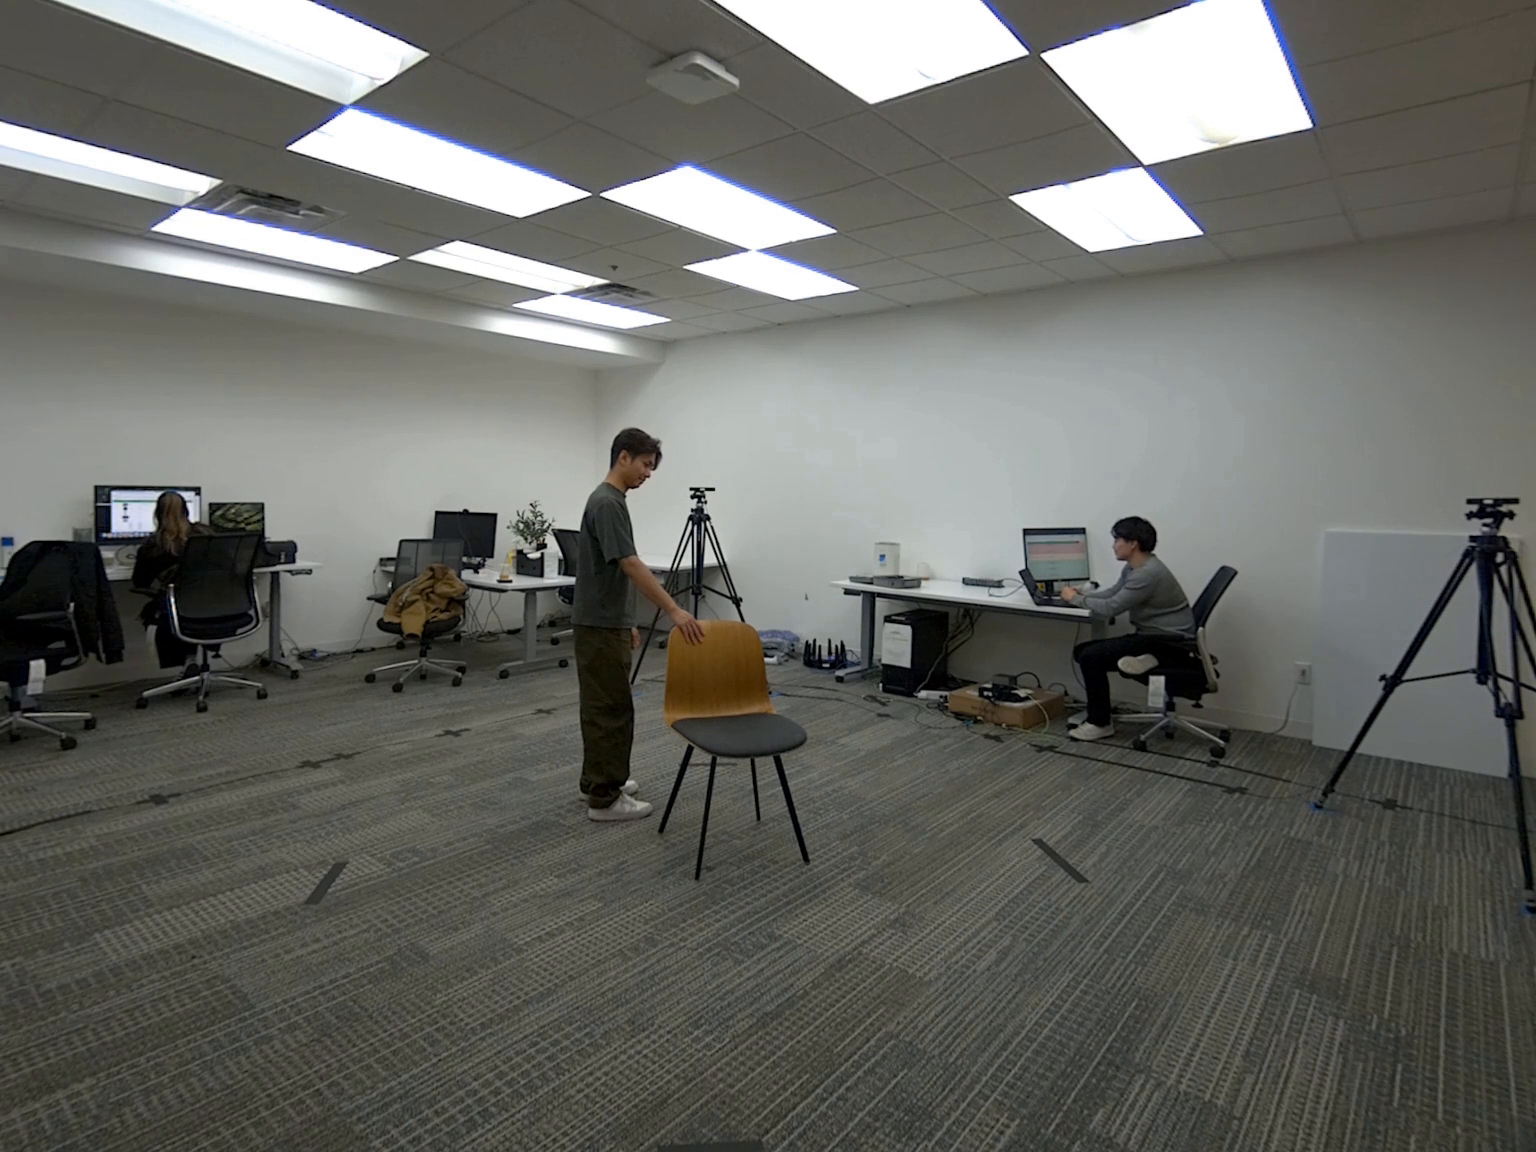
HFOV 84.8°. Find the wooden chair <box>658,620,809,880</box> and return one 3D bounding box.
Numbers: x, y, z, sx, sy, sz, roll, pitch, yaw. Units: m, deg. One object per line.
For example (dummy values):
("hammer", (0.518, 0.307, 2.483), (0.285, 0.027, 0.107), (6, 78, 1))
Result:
("wooden chair", (-0.142, 0.624, 3.264), (0.467, 0.878, 0.534), (0, -1, -23))
